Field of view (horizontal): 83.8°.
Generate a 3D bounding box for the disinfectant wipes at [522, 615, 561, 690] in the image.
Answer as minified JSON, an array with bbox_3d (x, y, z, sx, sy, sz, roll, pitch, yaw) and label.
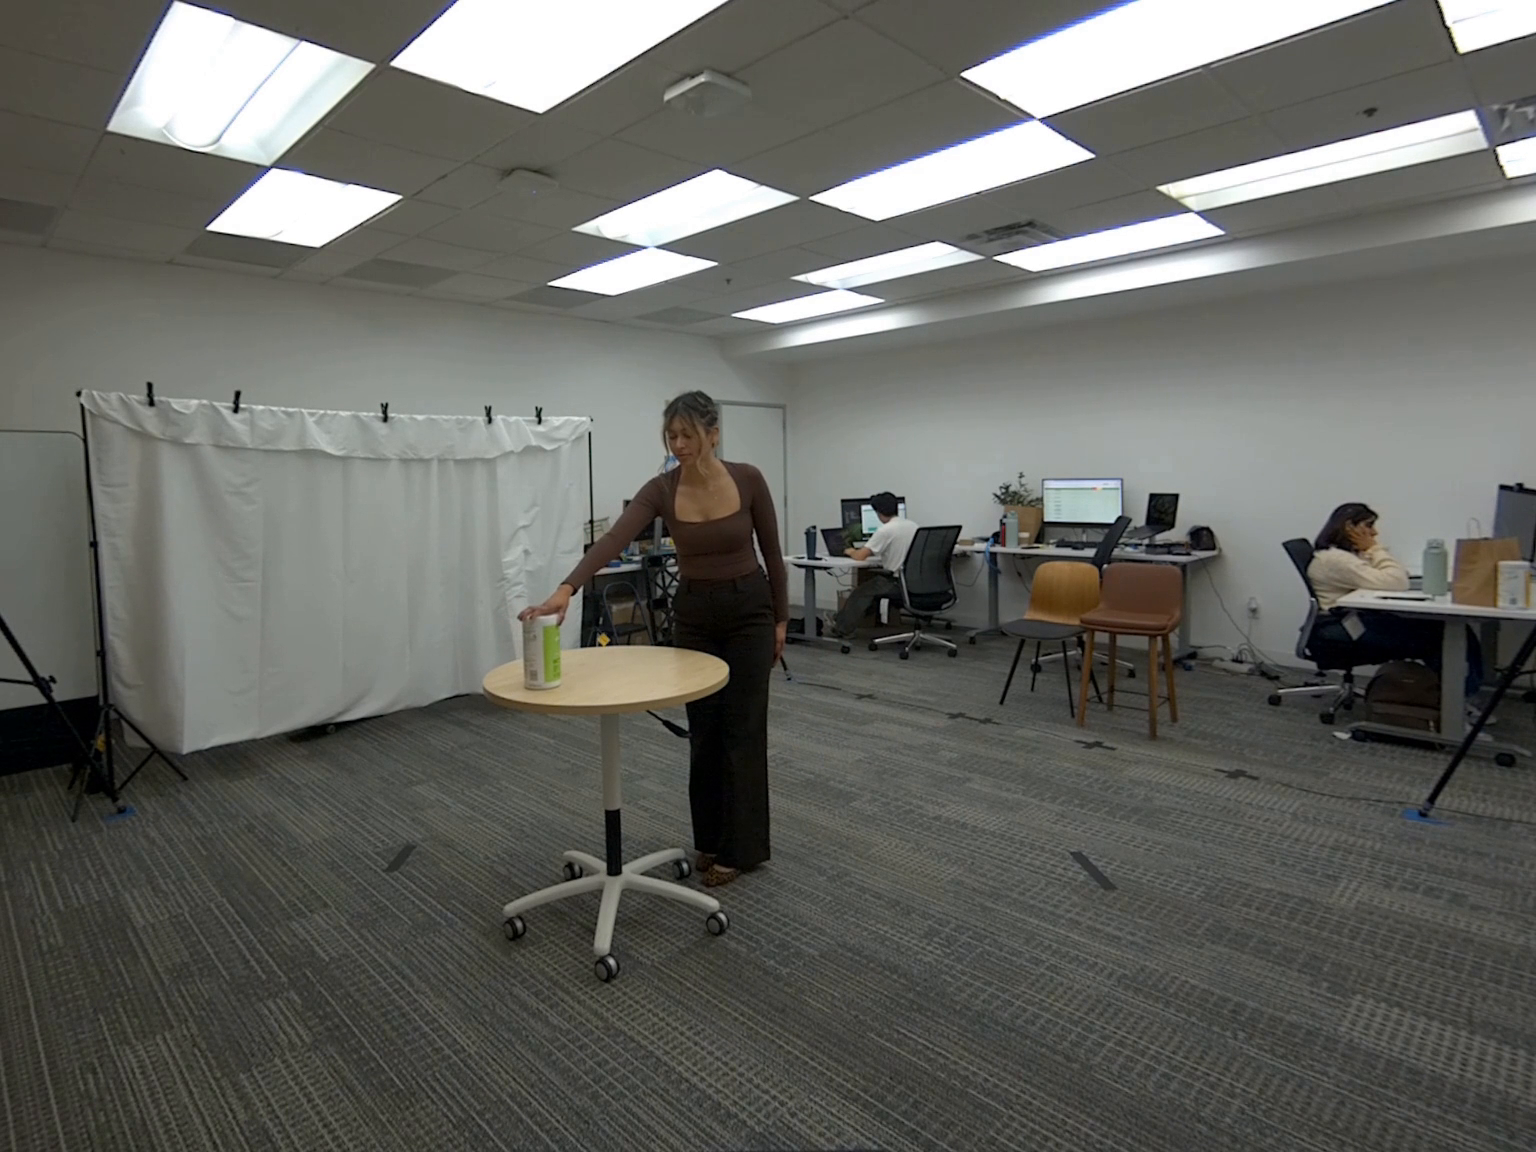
[{"bbox_3d":[-0.670,0.221,2.526,0.118,0.217,0.118,0,3,-2],"label":"disinfectant wipes"}]
